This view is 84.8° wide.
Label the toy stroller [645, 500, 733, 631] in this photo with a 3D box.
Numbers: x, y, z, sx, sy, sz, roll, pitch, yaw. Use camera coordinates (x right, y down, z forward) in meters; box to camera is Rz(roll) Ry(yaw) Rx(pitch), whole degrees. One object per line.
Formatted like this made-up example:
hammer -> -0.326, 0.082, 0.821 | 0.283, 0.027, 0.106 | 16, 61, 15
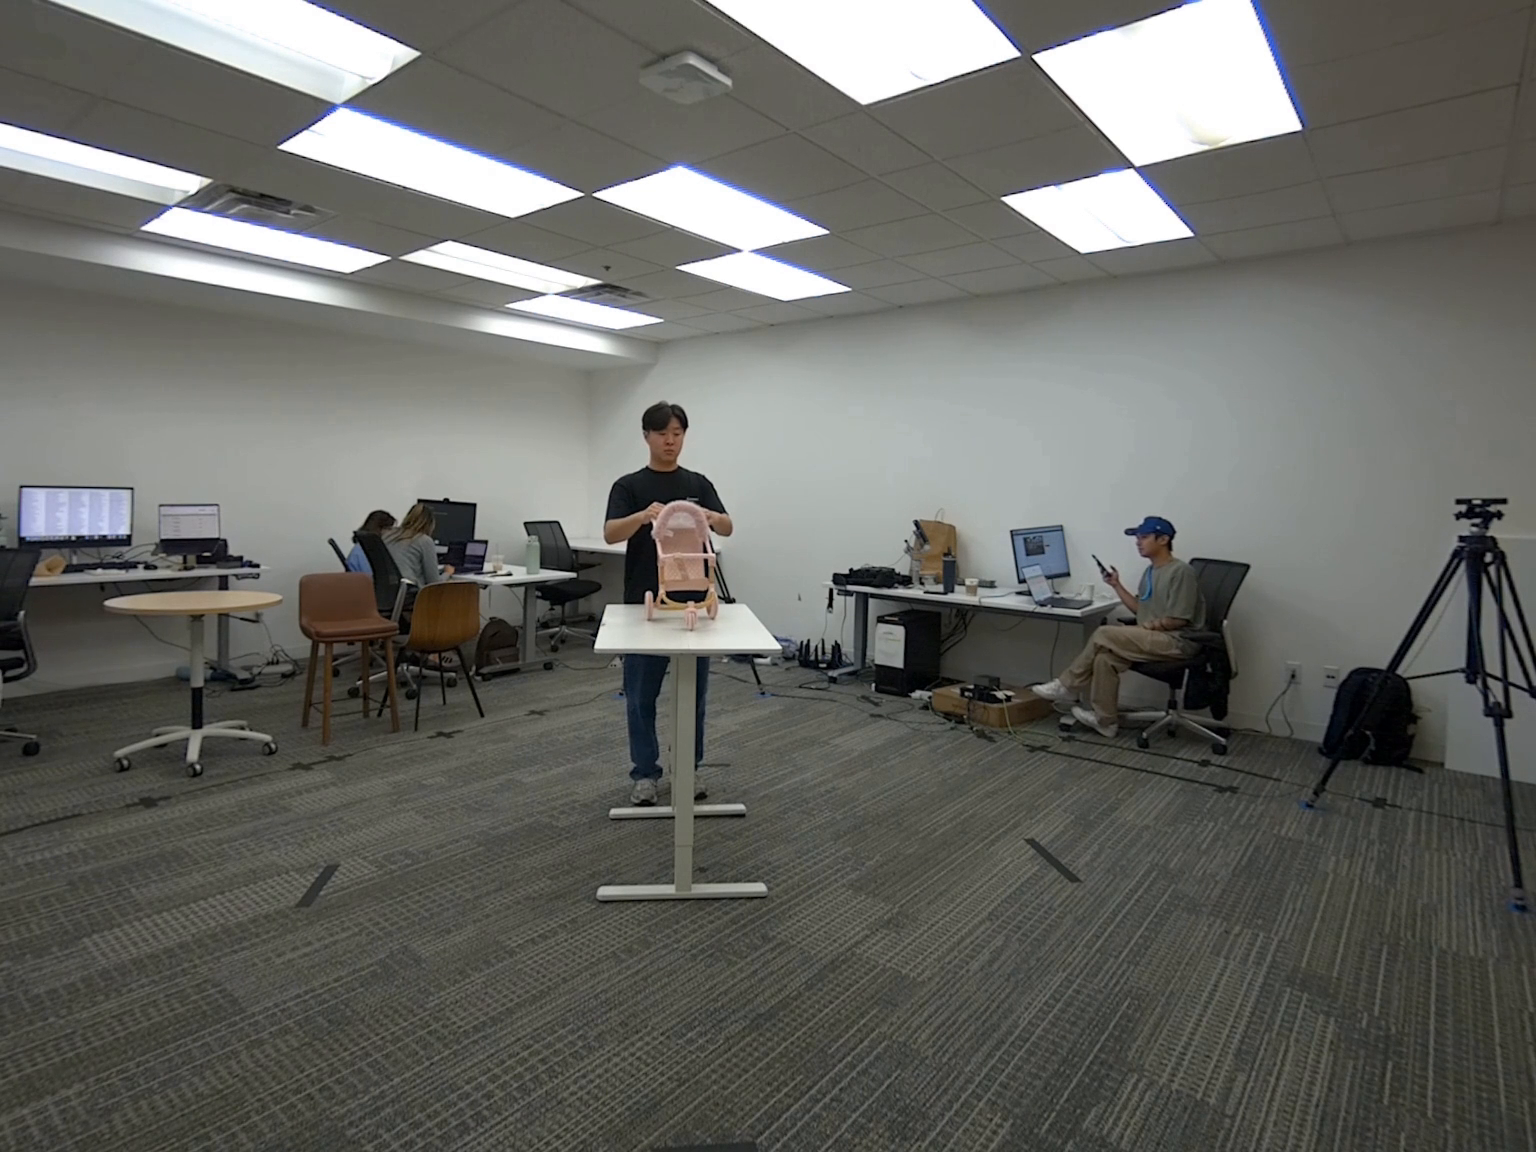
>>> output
toy stroller -> -0.334, -0.051, 3.226 | 0.279, 0.542, 0.340 | 0, -13, -10
